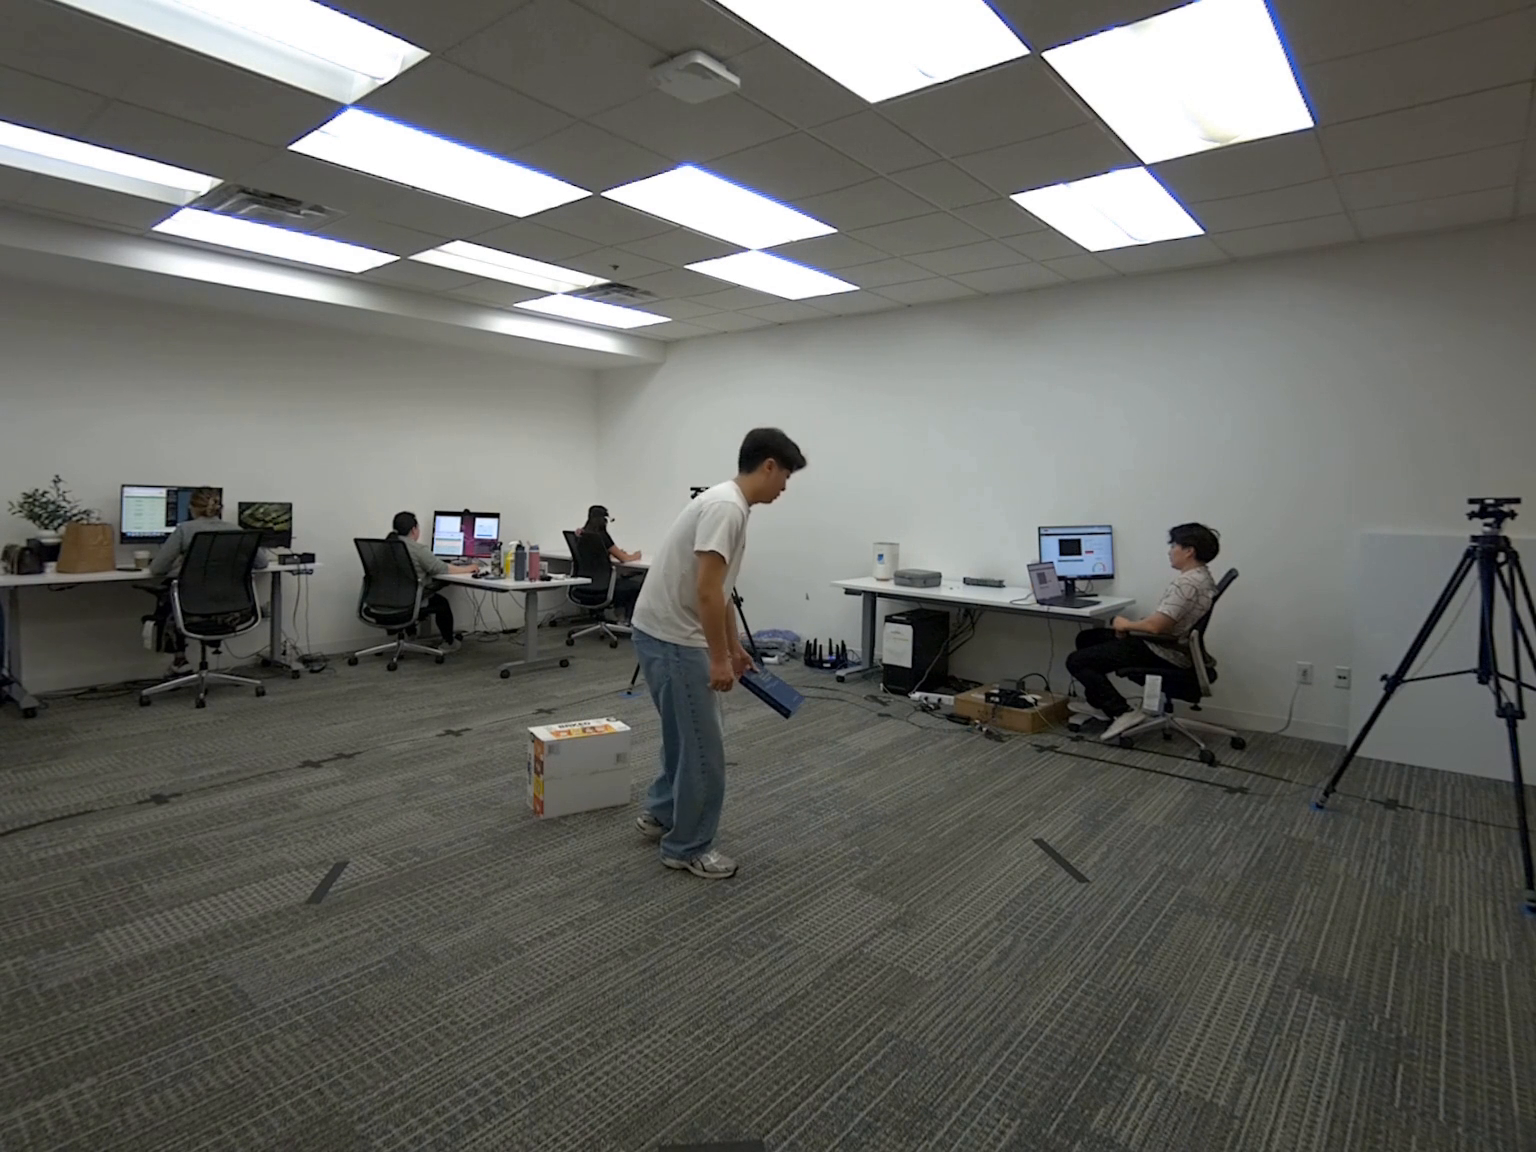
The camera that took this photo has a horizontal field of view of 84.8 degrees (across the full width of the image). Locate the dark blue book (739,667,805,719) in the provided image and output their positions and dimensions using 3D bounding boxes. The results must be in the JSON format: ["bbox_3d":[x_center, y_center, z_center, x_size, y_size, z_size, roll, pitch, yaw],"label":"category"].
[{"bbox_3d":[-0.004,0.472,3.402,0.249,0.045,0.161,34,22,12],"label":"dark blue book"}]
